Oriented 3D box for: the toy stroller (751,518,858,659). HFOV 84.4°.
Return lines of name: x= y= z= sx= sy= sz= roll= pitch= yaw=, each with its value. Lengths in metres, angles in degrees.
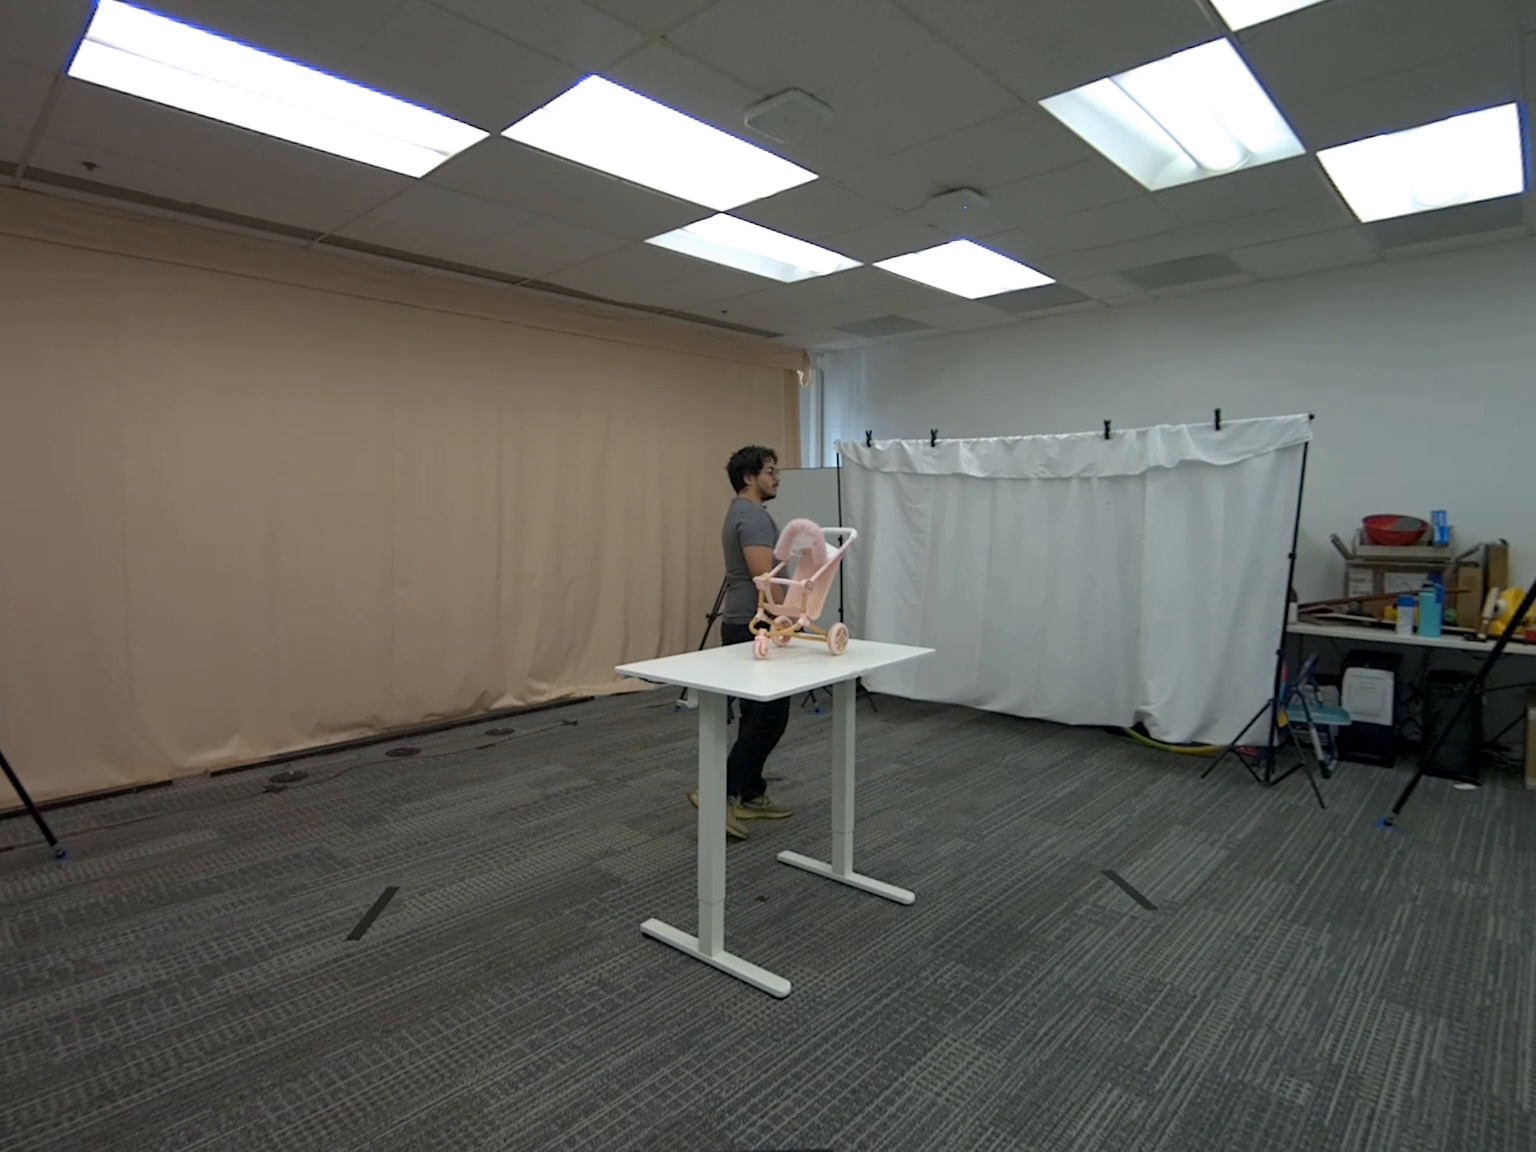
toy stroller: x=0.107 y=0.045 z=2.903 sx=0.291 sy=0.536 sz=0.329 roll=4 pitch=-12 yaw=46
